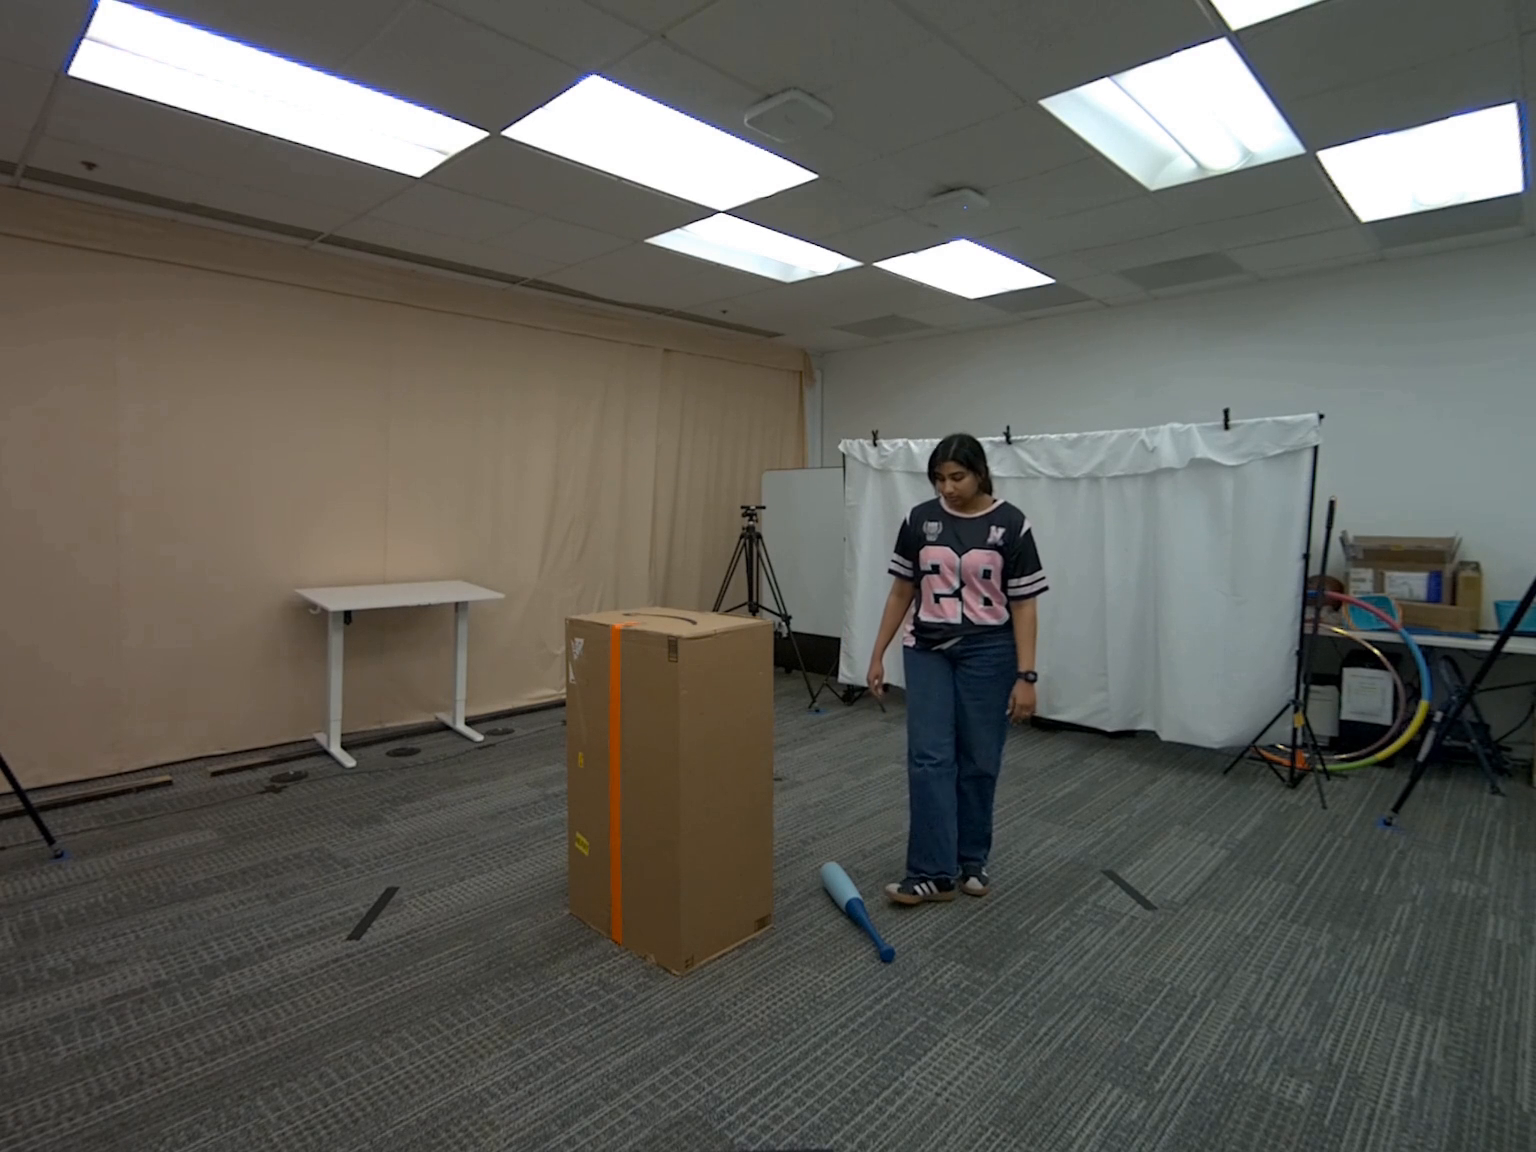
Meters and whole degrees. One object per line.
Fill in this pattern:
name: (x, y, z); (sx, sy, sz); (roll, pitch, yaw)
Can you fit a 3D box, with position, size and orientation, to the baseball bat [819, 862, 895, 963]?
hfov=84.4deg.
baseball bat: (0.298, 1.123, 2.816); (0.088, 0.088, 0.552); (-1, 8, -13)
